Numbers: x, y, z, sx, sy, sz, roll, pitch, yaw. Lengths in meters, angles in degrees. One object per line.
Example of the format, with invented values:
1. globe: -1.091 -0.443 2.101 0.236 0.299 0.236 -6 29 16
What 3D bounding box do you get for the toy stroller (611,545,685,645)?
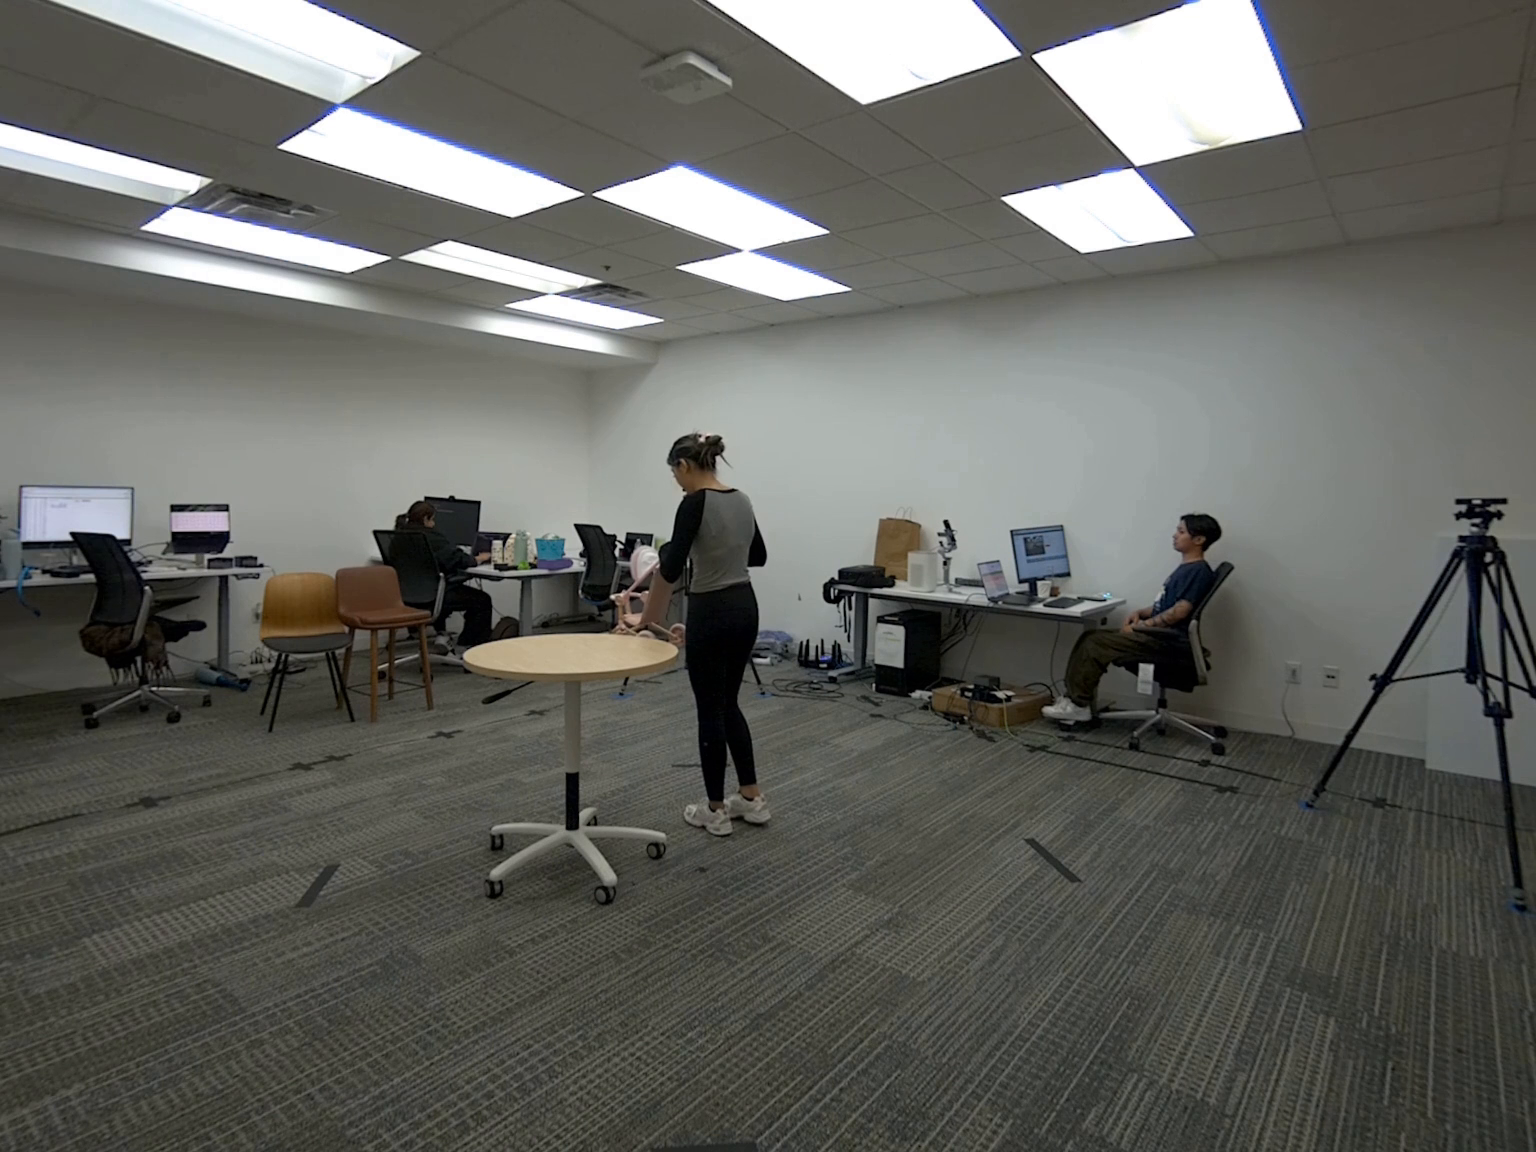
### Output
1. toy stroller: -0.544 0.104 3.725 0.353 0.532 0.273 11 7 33
